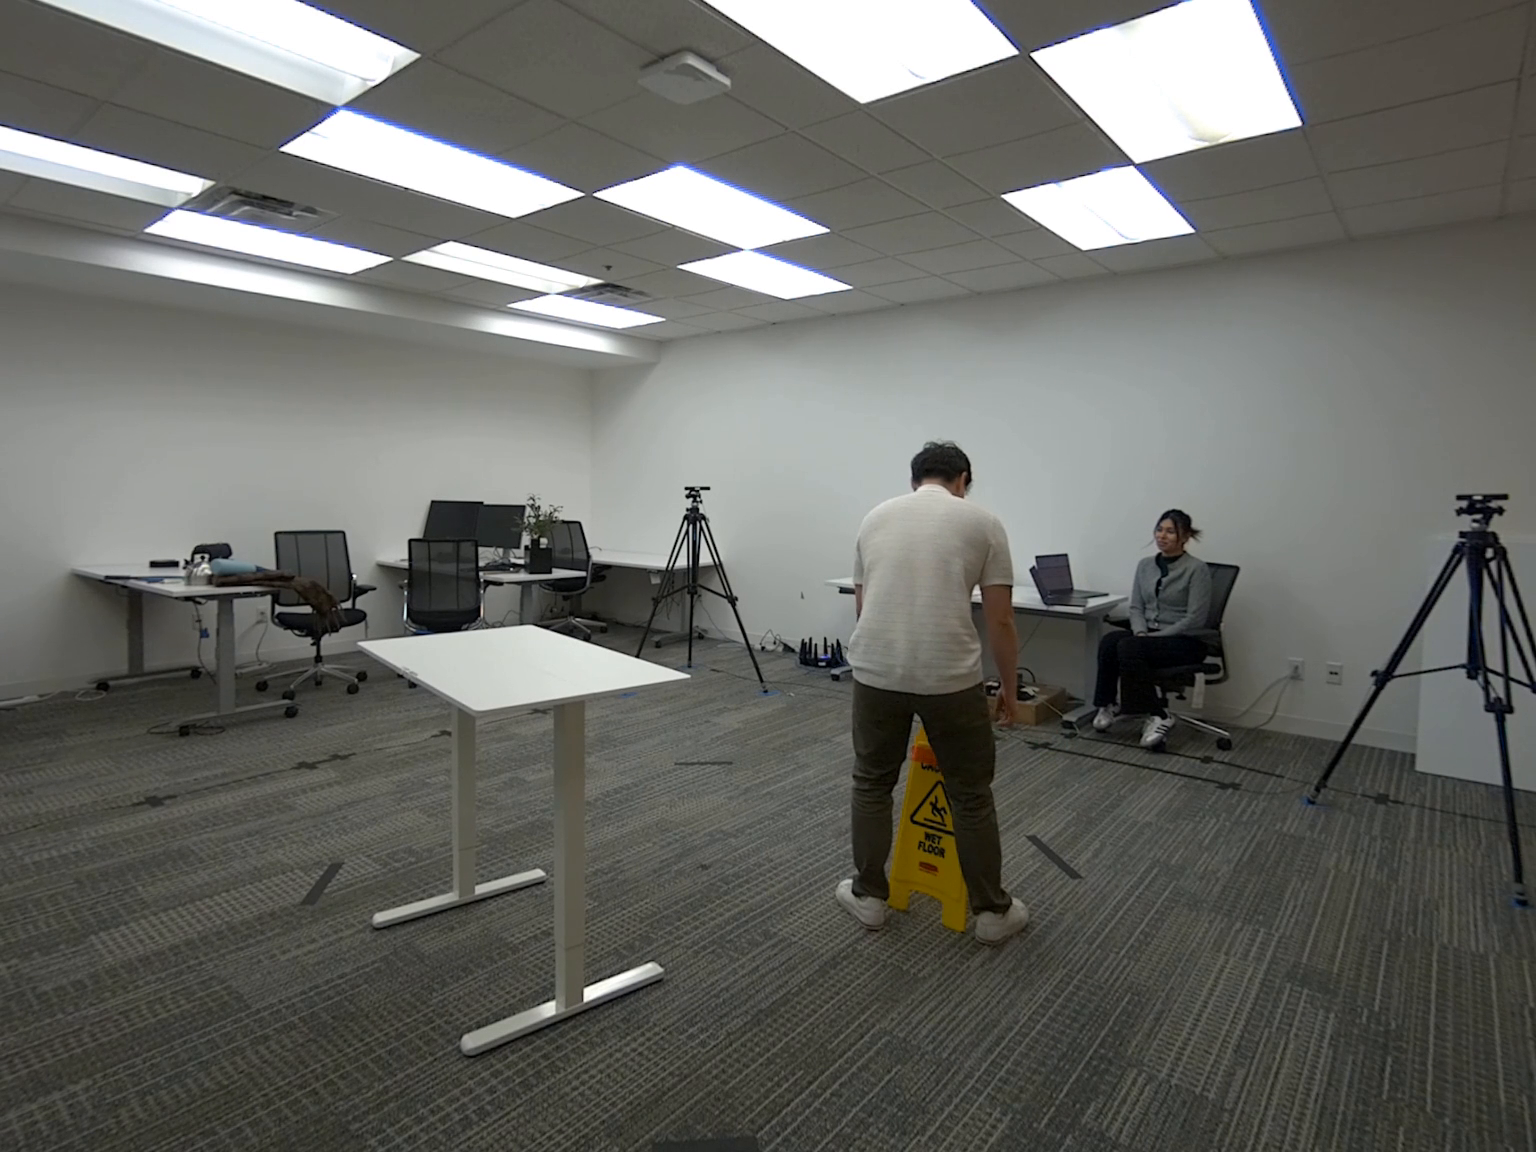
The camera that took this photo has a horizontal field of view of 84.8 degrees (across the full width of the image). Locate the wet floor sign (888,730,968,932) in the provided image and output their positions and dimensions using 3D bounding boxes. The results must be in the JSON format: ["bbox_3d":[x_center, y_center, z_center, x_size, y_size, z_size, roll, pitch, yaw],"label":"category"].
[{"bbox_3d":[0.593,0.786,2.871,0.291,0.644,0.281,4,4,37],"label":"wet floor sign"}]
